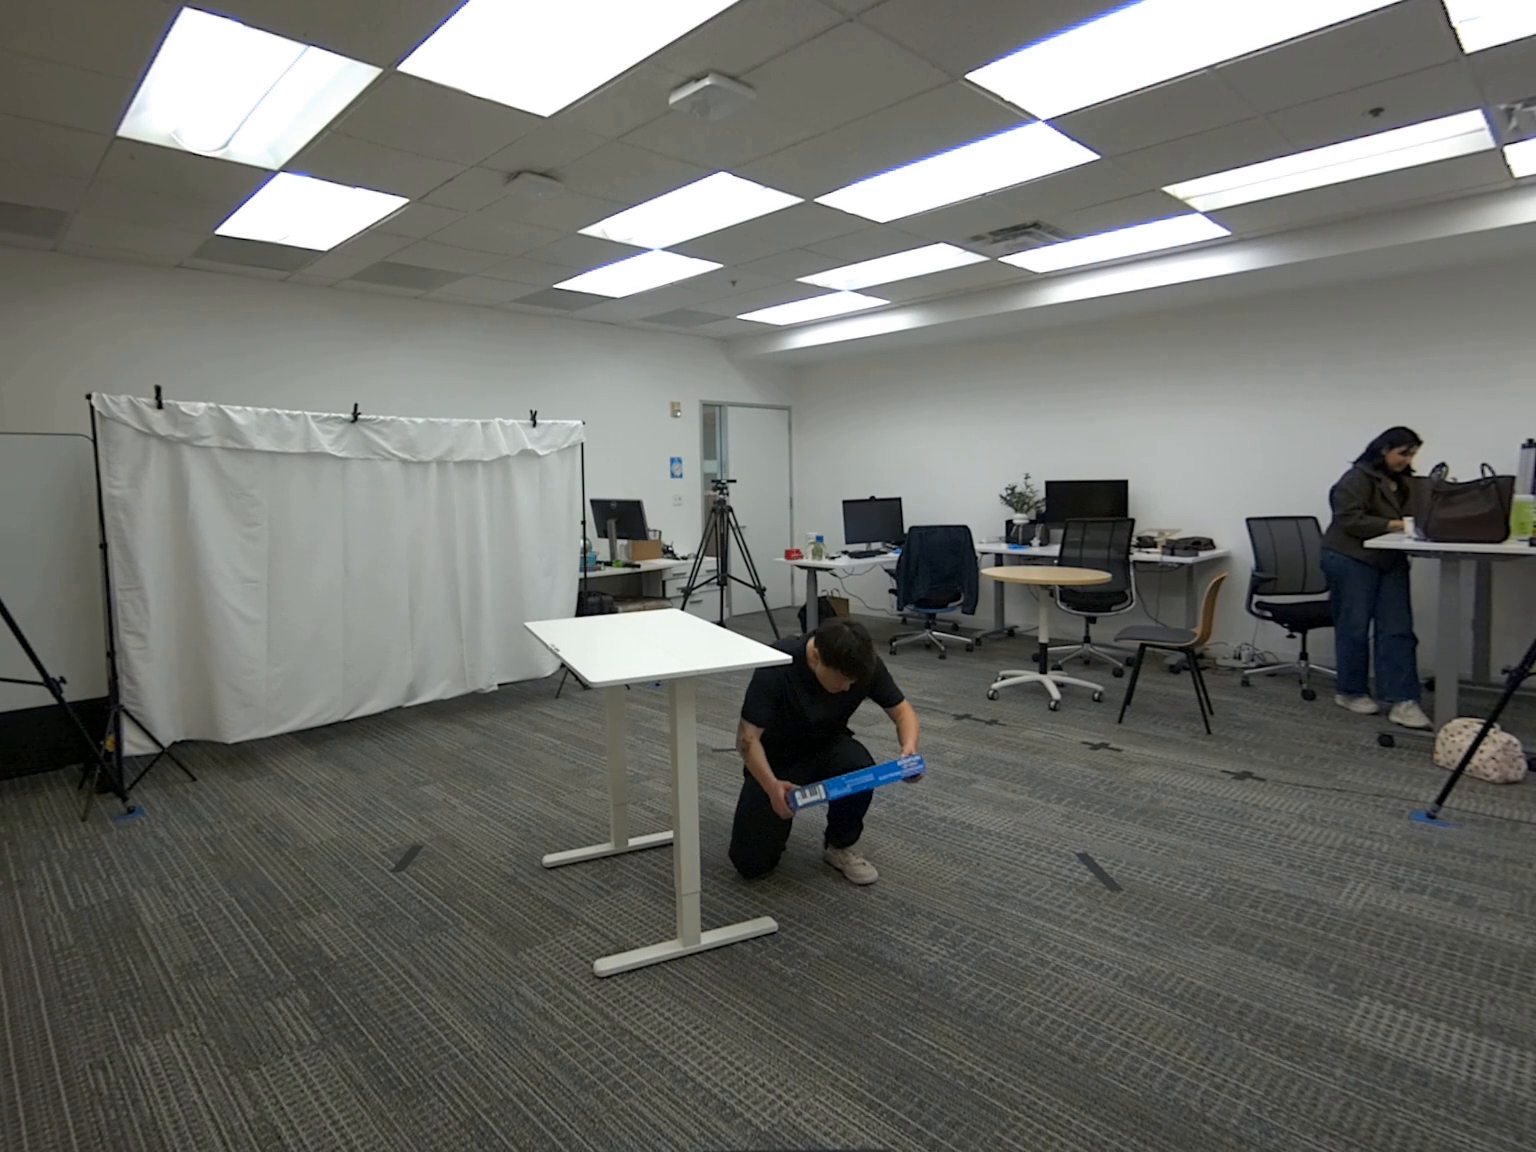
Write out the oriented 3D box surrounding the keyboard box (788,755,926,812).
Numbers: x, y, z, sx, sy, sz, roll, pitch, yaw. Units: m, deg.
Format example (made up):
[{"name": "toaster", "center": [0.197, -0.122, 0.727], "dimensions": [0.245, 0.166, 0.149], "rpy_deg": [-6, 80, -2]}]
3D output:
[{"name": "keyboard box", "center": [0.264, 0.655, 2.684], "dimensions": [0.432, 0.060, 0.174], "rpy_deg": [-13, -16, -13]}]
